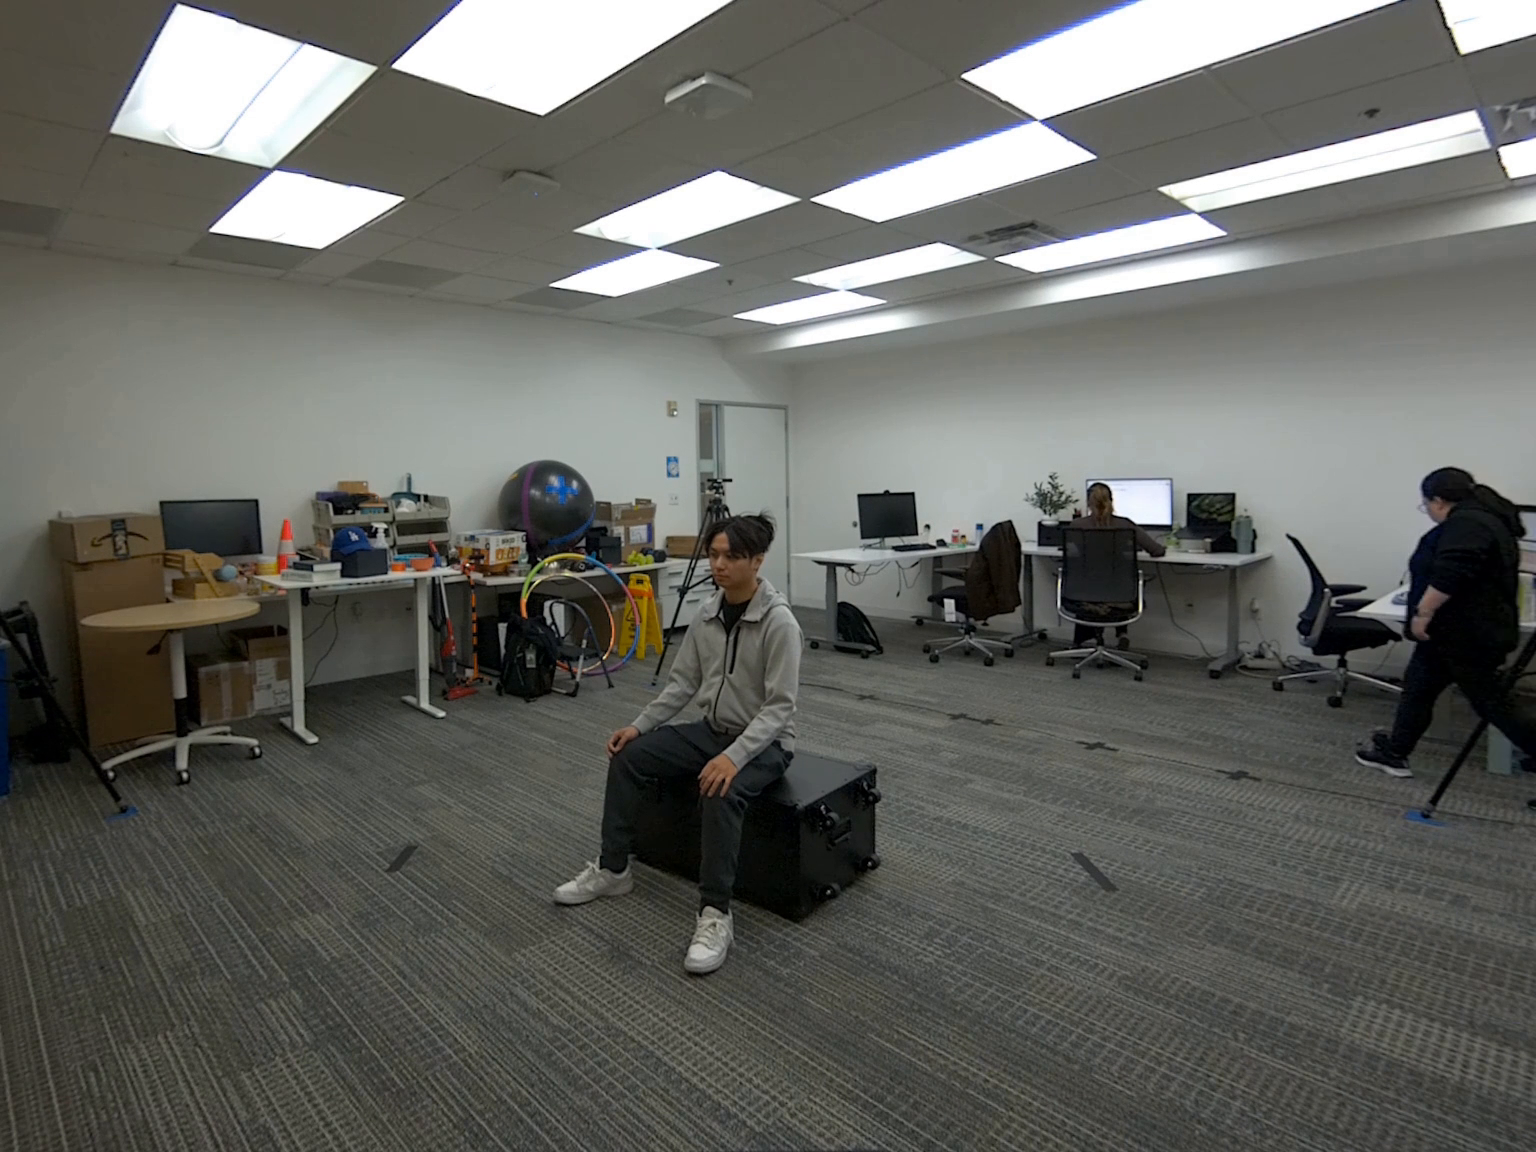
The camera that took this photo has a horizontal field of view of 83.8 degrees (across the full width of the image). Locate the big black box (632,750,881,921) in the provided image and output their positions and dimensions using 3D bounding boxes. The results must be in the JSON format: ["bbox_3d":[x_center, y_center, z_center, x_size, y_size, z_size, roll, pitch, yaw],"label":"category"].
[{"bbox_3d":[-0.089,0.862,3.114,0.887,0.395,0.508,4,7,38],"label":"big black box"}]
